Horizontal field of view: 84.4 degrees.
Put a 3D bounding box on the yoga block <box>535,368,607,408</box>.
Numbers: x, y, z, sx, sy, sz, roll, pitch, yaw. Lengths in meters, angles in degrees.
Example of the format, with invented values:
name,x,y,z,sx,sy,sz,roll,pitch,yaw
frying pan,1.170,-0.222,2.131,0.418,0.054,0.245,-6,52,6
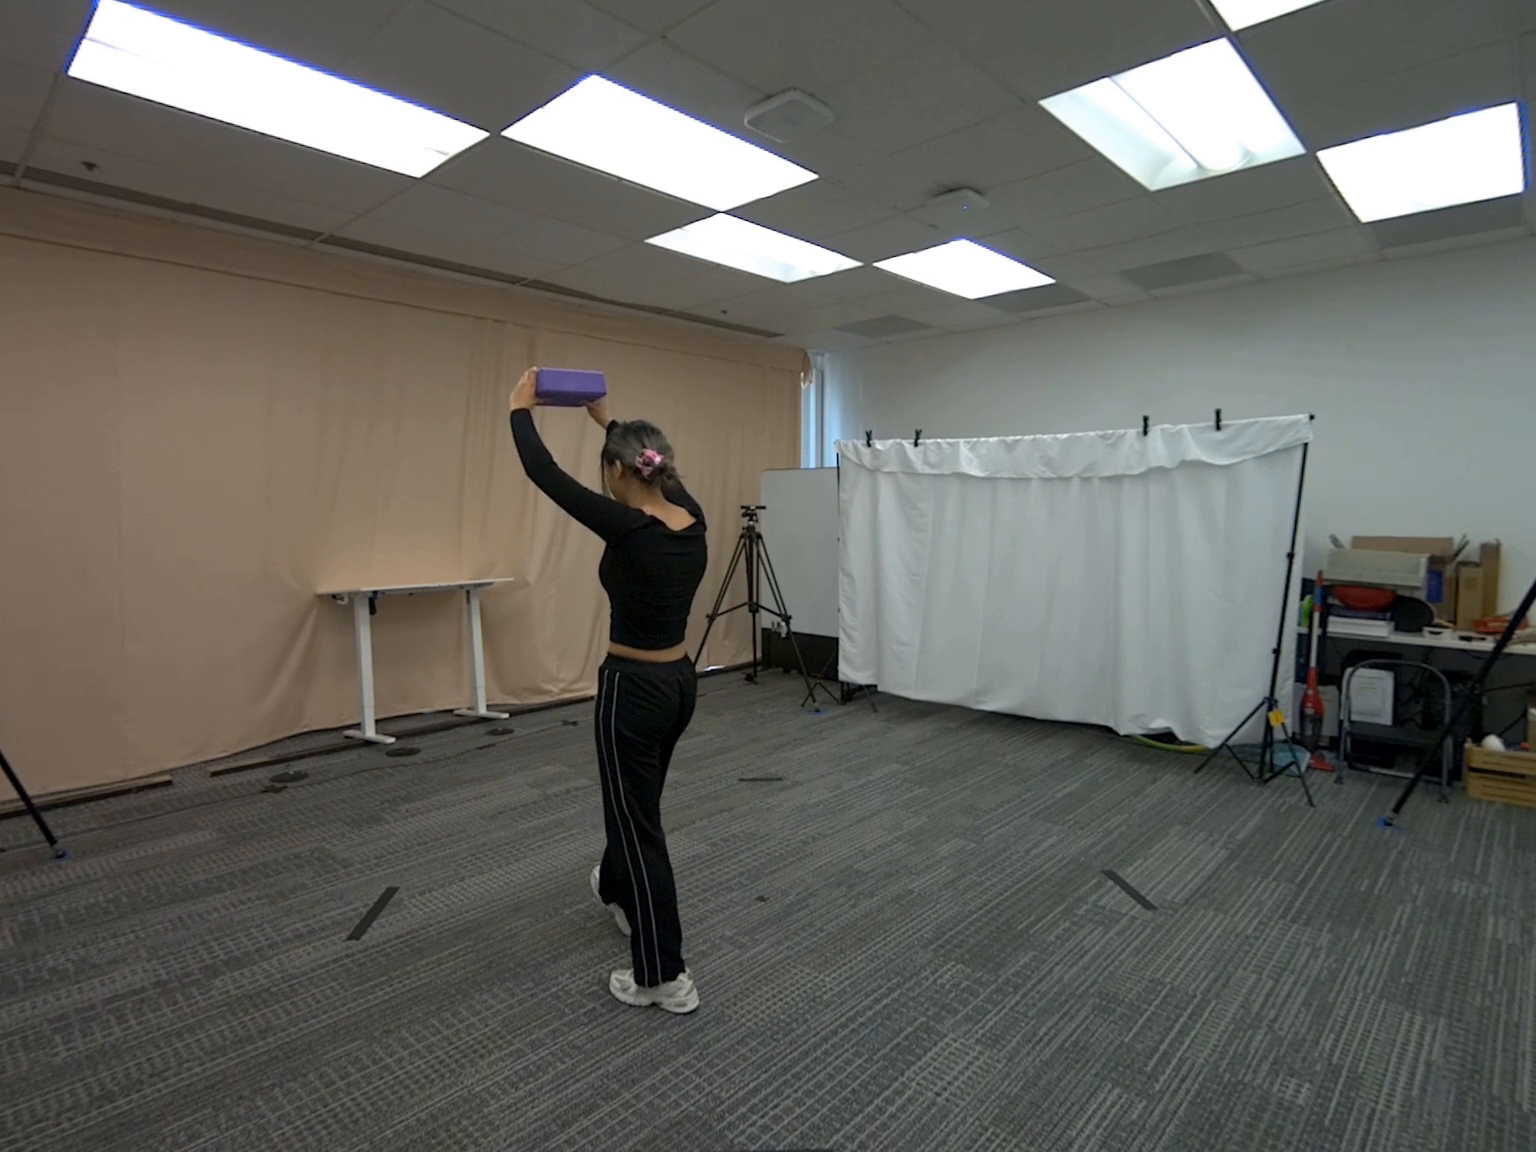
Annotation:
name,x,y,z,sx,sy,sz,roll,pitch,yaw
yoga block,-0.622,-0.570,2.536,0.223,0.076,0.153,-9,1,-44
